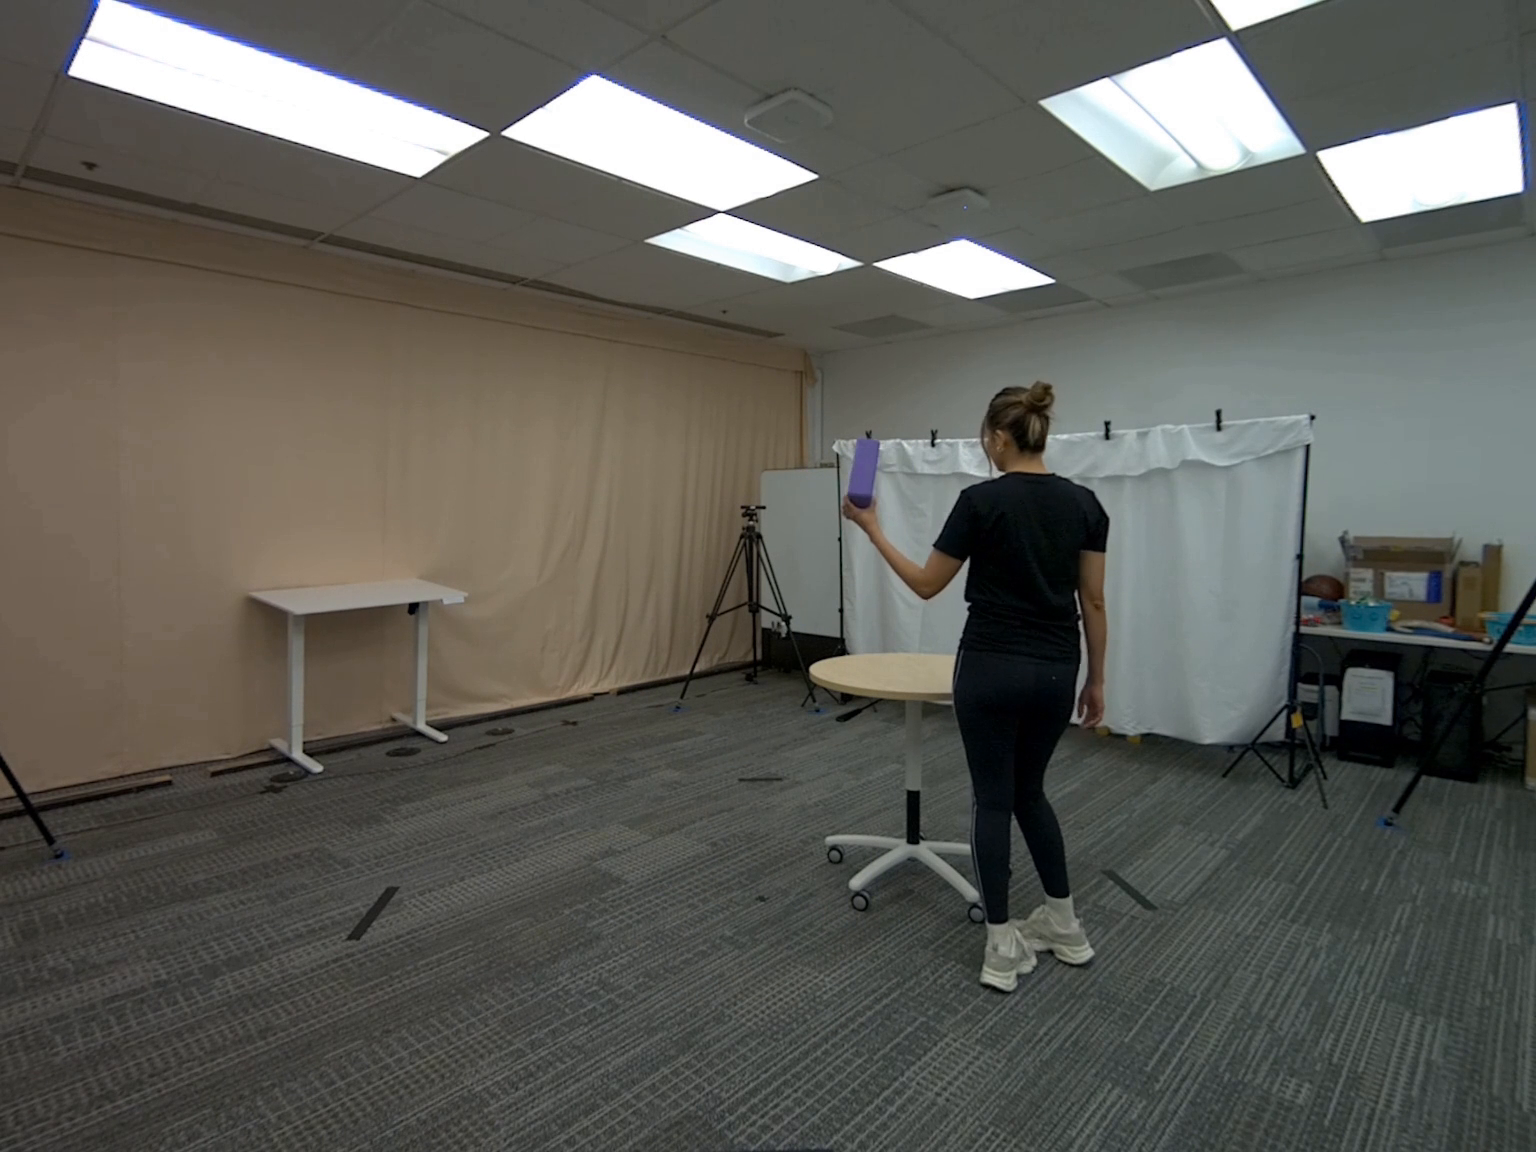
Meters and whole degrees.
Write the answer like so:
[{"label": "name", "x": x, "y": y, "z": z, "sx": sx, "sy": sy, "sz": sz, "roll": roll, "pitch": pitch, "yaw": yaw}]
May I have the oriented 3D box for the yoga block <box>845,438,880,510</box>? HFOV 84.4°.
[{"label": "yoga block", "x": 0.321, "y": -0.311, "z": 2.714, "sx": 0.077, "sy": 0.232, "sz": 0.146, "roll": 6, "pitch": -30, "yaw": 6}]
